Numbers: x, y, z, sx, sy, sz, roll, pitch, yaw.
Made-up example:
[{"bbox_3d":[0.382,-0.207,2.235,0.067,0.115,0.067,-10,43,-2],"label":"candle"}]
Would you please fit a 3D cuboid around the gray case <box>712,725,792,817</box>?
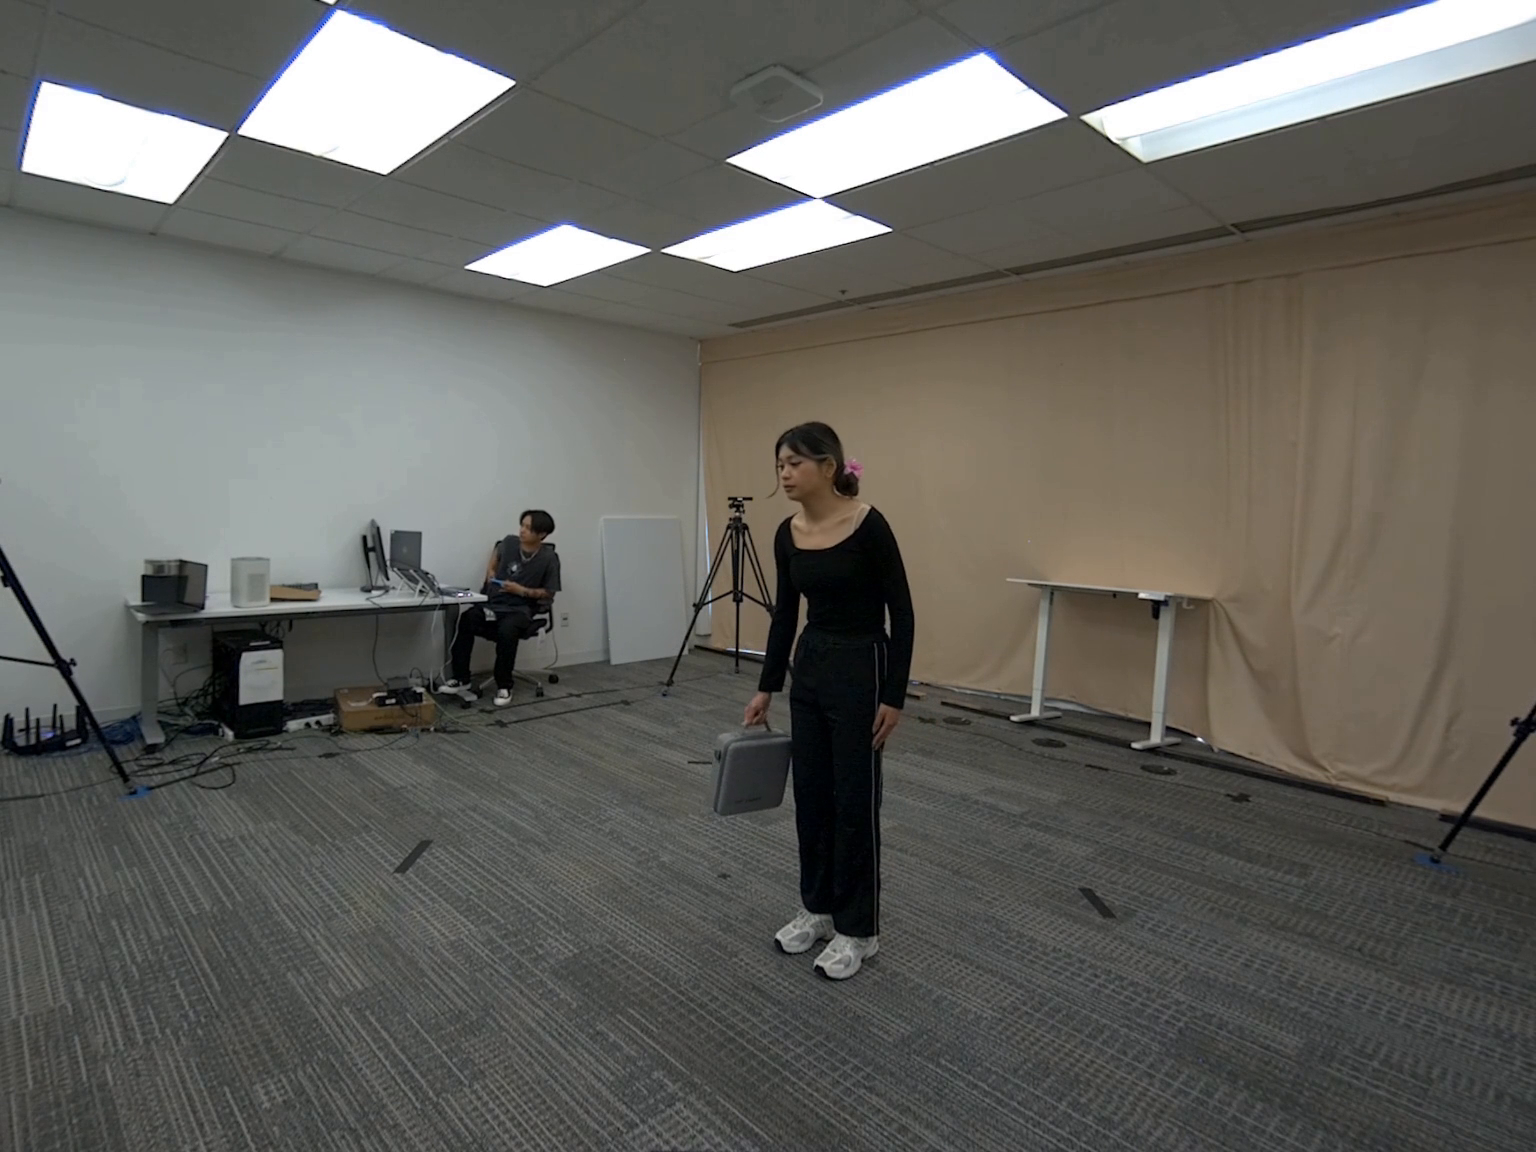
[{"bbox_3d":[-0.063,0.627,2.712,0.251,0.259,0.107,3,9,-34],"label":"gray case"}]
